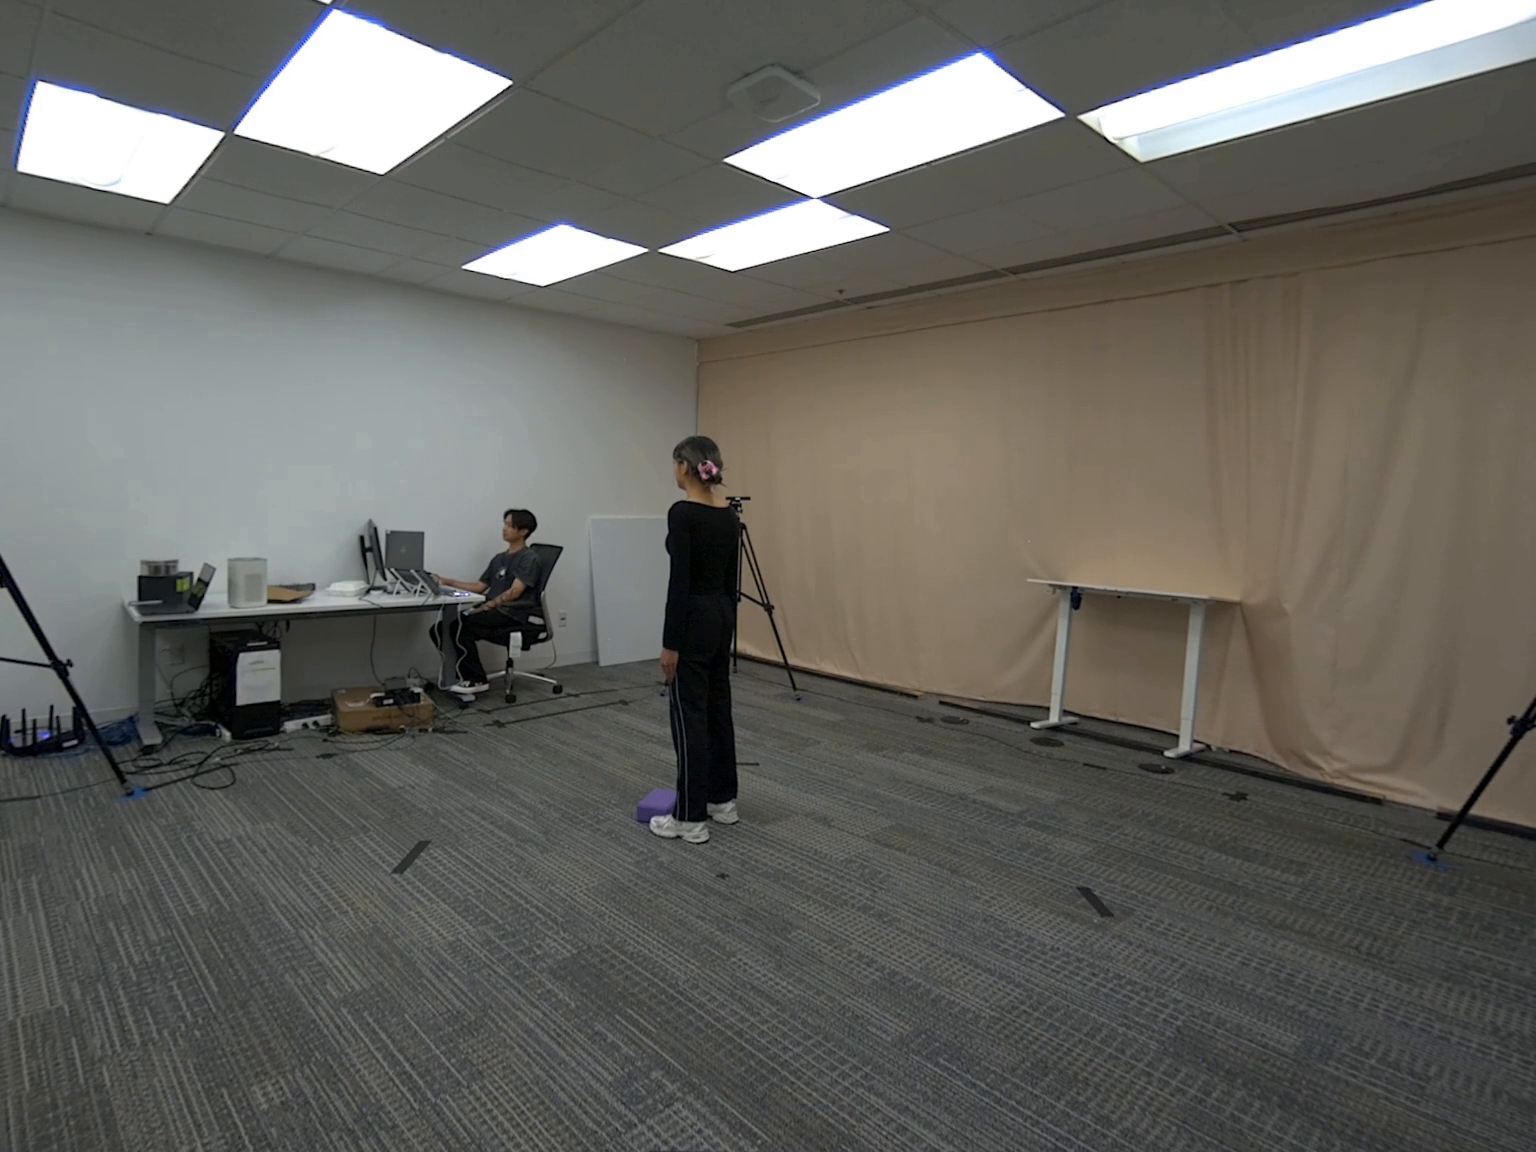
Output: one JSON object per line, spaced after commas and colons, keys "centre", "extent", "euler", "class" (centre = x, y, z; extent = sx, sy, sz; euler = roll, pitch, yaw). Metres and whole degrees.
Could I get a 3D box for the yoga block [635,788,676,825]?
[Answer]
{"centre": [-0.474, 1.005, 3.688], "extent": [0.151, 0.076, 0.227], "euler": [4, 6, 15], "class": "yoga block"}
